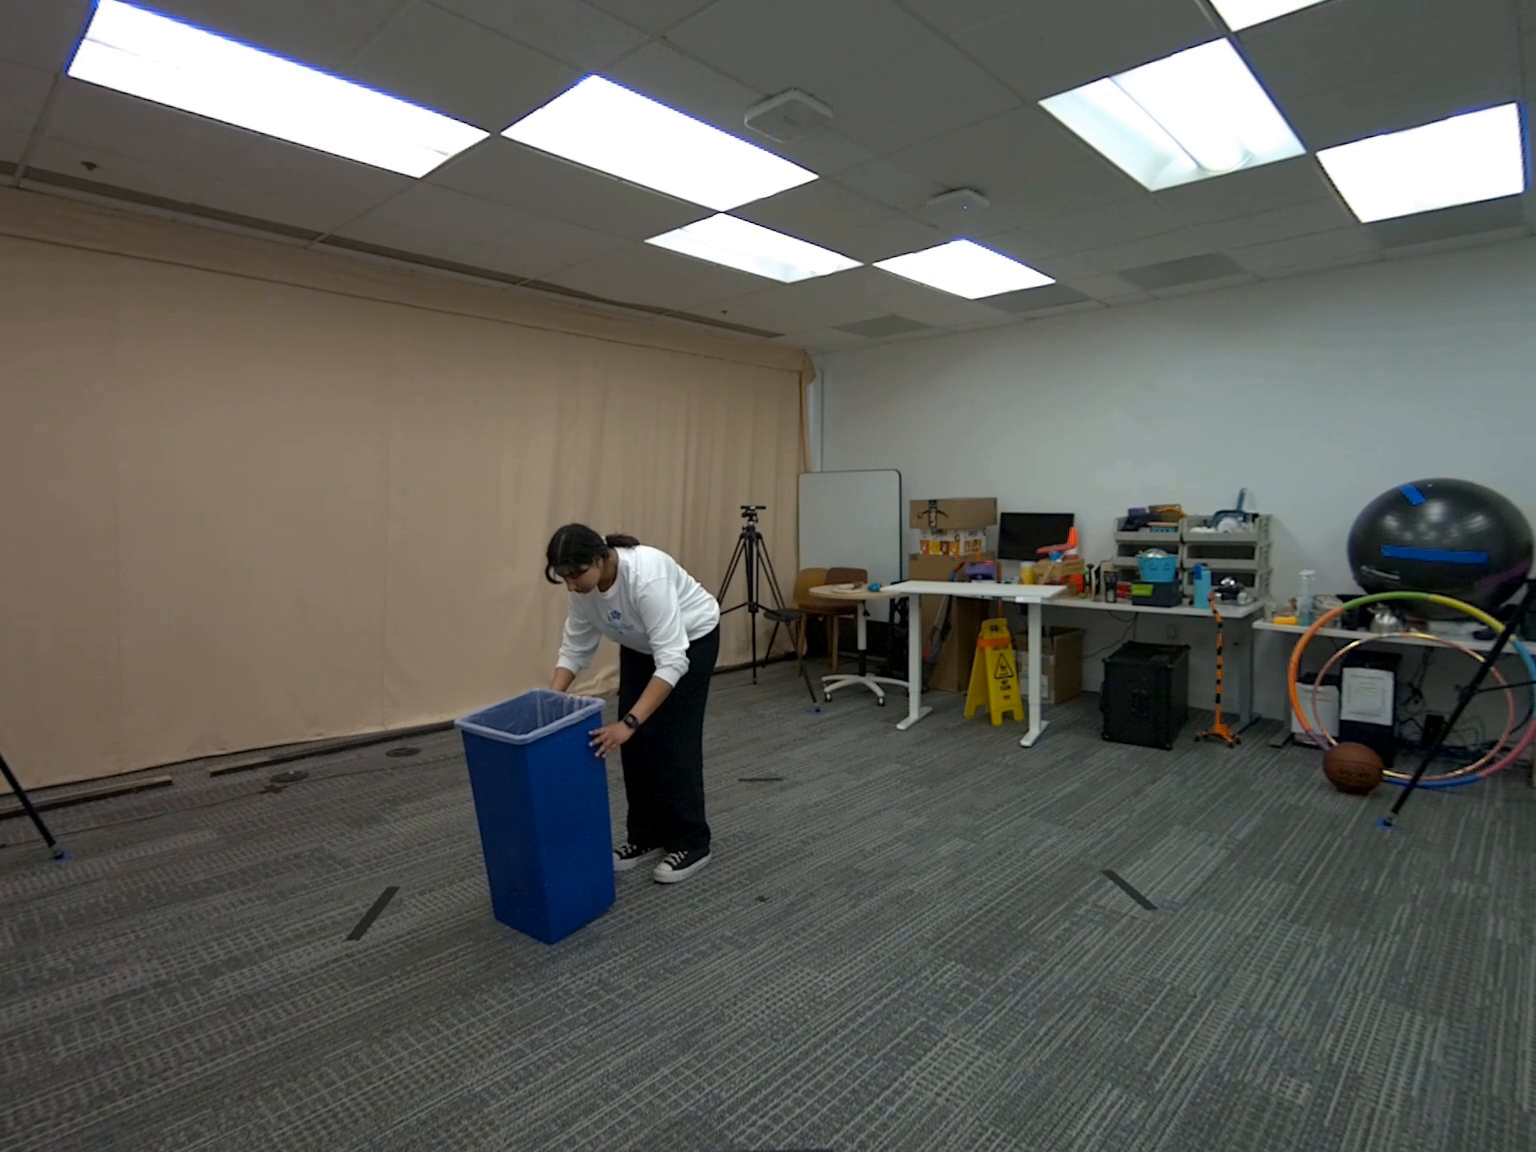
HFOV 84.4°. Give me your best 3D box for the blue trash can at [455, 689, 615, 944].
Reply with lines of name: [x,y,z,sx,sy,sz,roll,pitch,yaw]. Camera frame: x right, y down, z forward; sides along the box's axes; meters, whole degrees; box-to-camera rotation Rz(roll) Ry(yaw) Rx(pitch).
blue trash can: [-0.756,0.795,2.814,0.390,0.709,0.364,2,10,36]
